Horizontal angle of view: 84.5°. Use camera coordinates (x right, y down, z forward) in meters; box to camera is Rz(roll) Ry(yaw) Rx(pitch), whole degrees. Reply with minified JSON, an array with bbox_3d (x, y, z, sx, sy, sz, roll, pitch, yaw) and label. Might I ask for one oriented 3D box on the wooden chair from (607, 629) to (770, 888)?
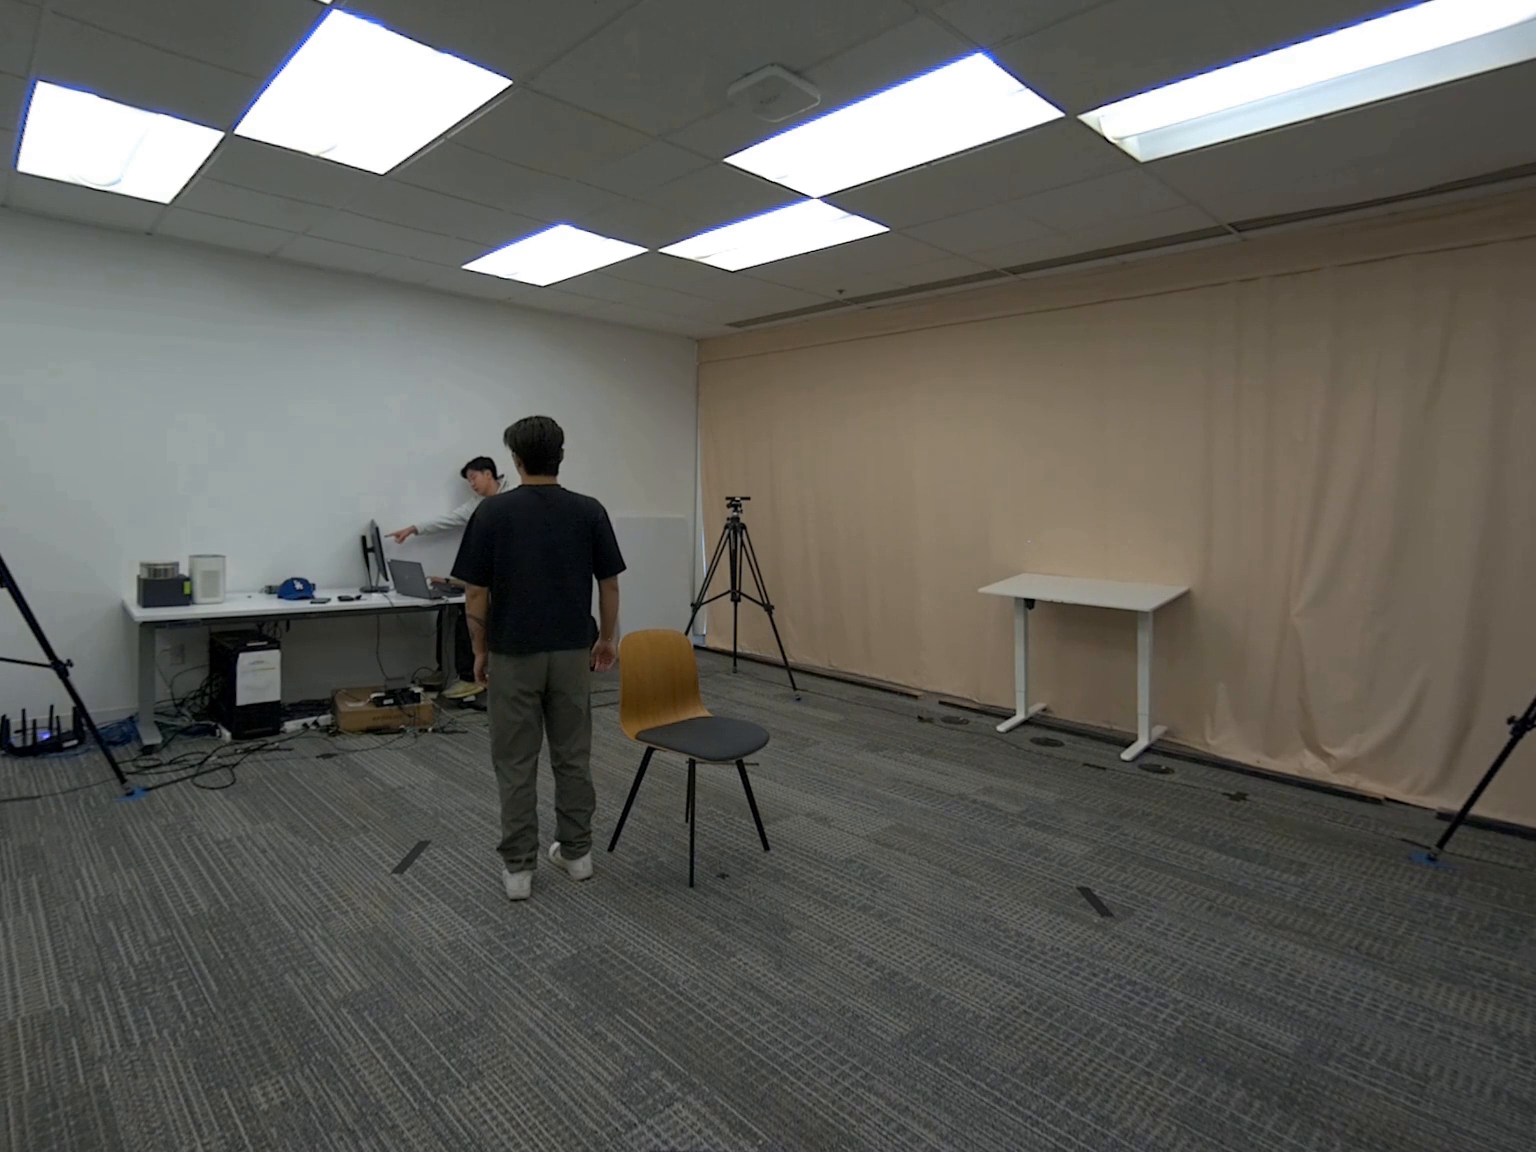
[{"bbox_3d":[-0.295,0.660,3.282,0.535,0.877,0.467,-1,1,39],"label":"wooden chair"}]
